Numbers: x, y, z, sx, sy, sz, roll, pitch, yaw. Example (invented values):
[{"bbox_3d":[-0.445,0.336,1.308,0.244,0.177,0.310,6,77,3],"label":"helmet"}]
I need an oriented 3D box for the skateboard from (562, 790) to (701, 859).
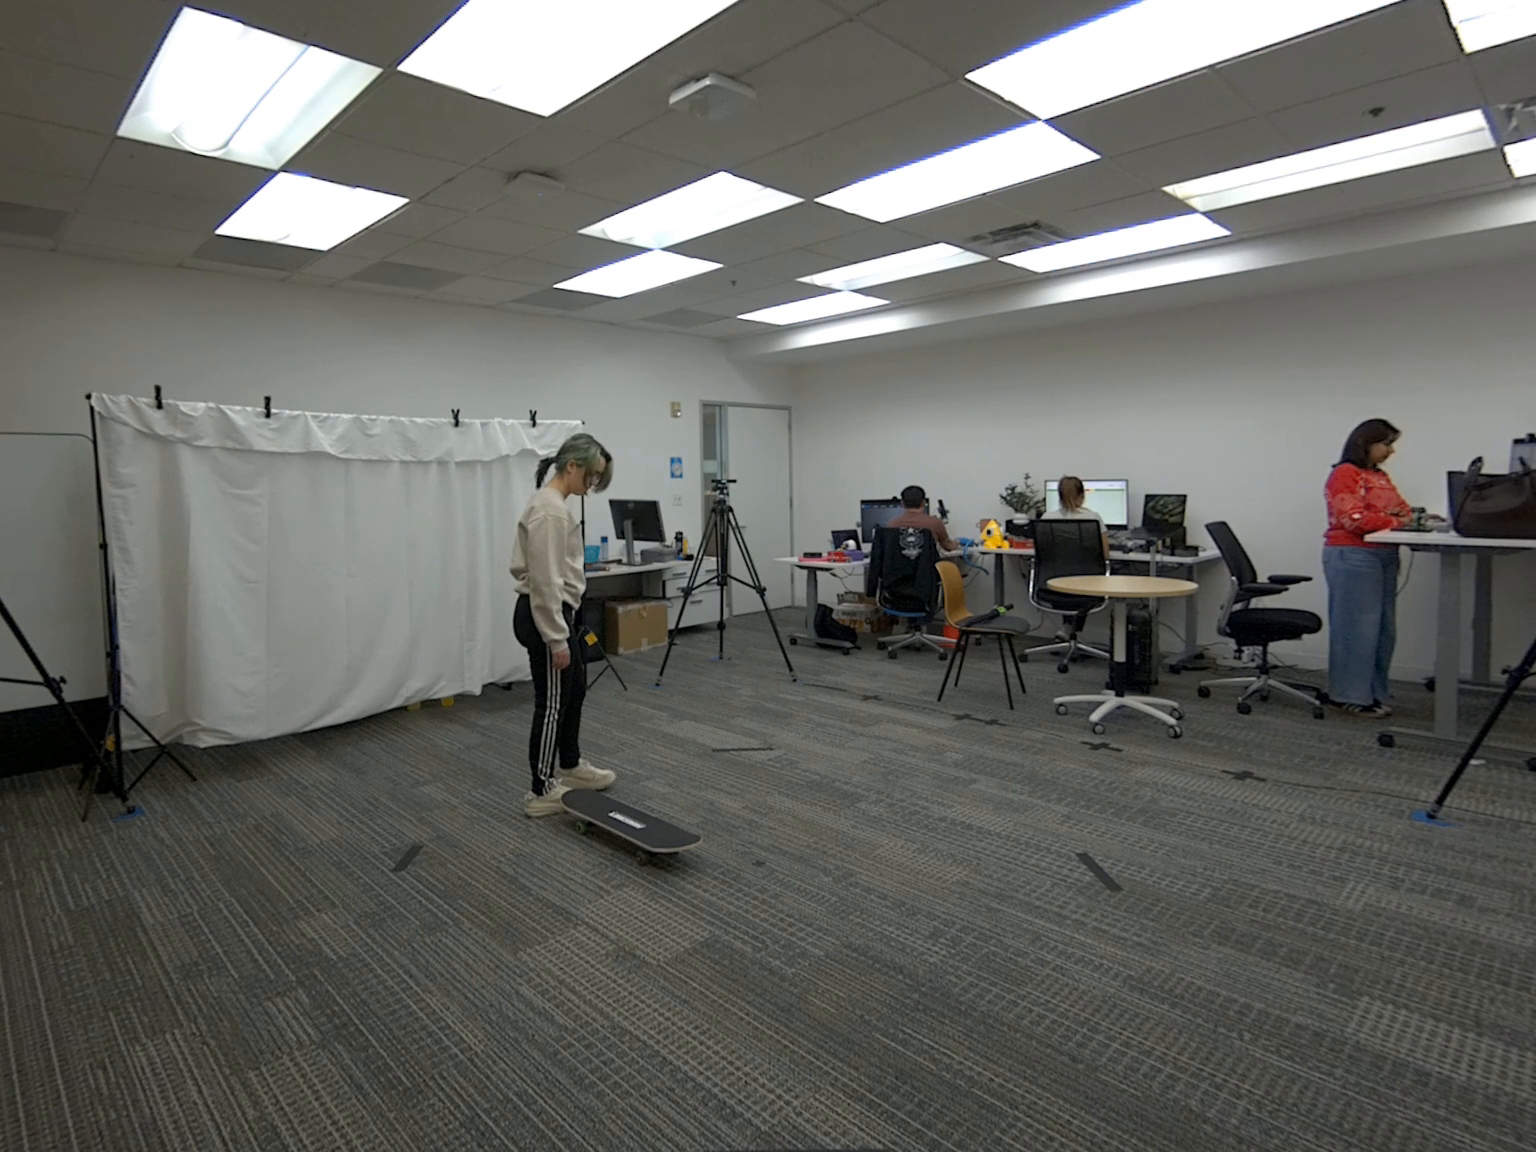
[{"bbox_3d":[-0.543,0.981,3.312,0.188,0.110,0.810,-6,7,-44],"label":"skateboard"}]
